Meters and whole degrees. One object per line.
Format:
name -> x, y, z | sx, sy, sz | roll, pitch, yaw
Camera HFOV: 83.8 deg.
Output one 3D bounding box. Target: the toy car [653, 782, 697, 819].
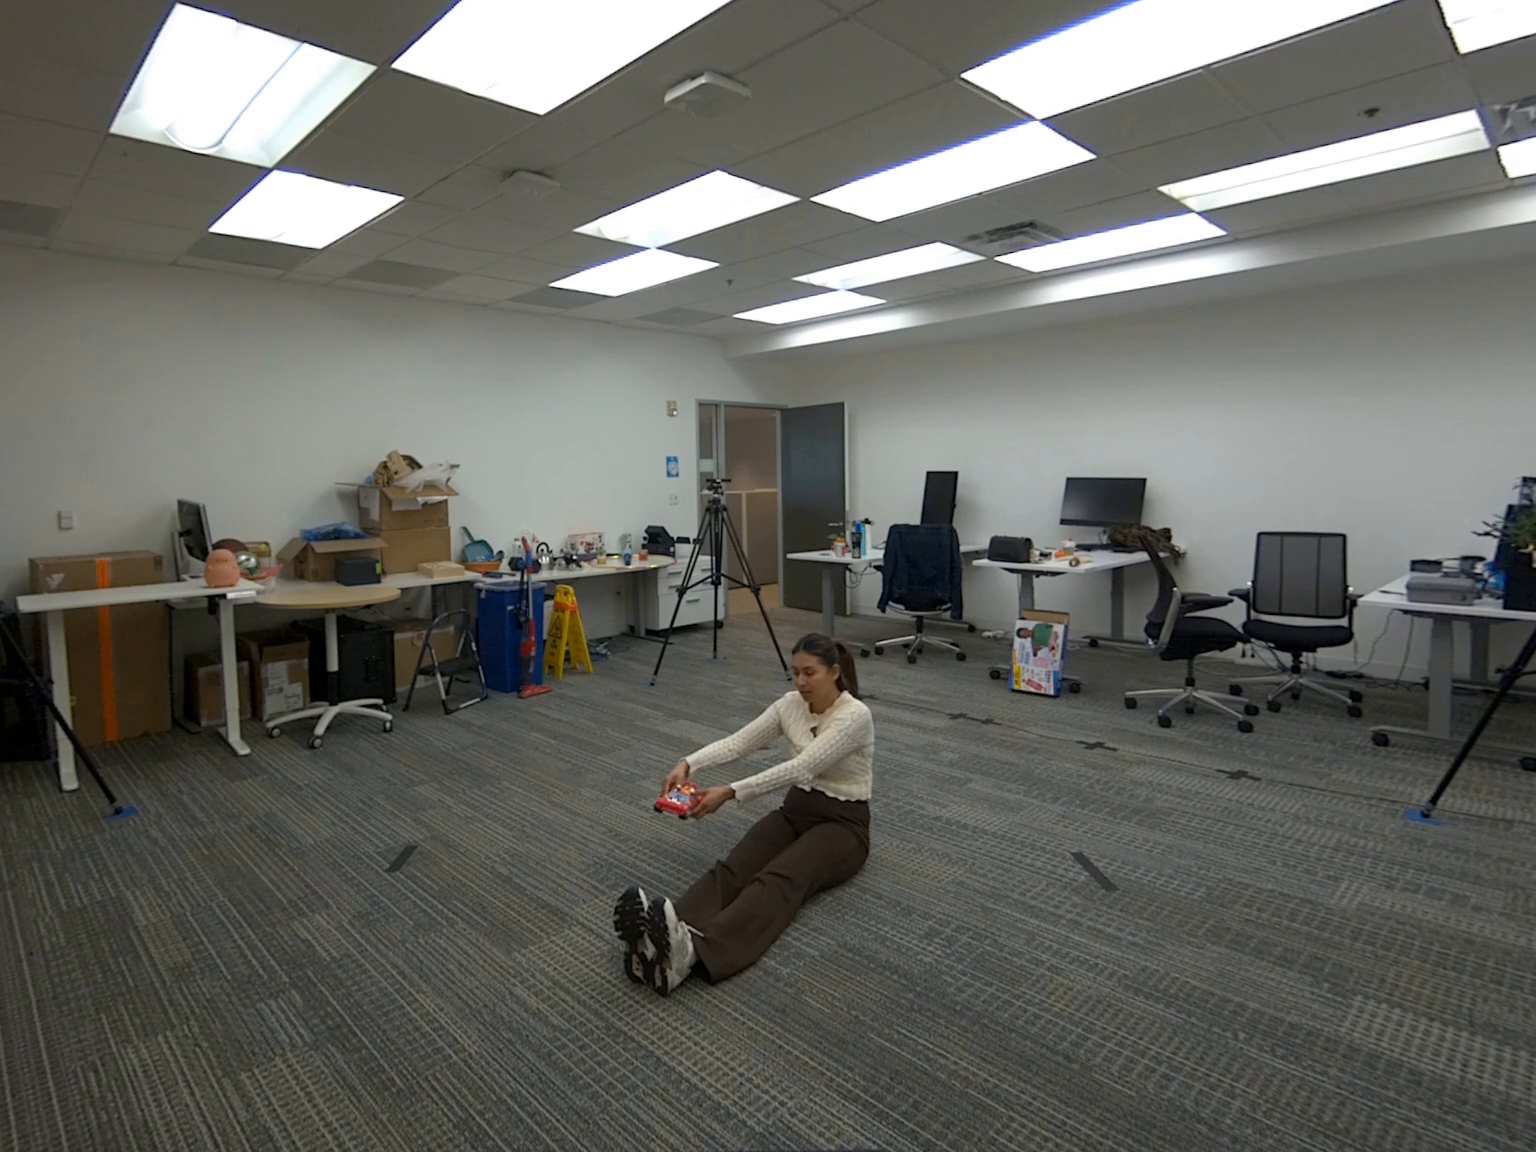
toy car -> -0.279, 0.769, 2.898 | 0.133, 0.083, 0.251 | 9, 9, 16
